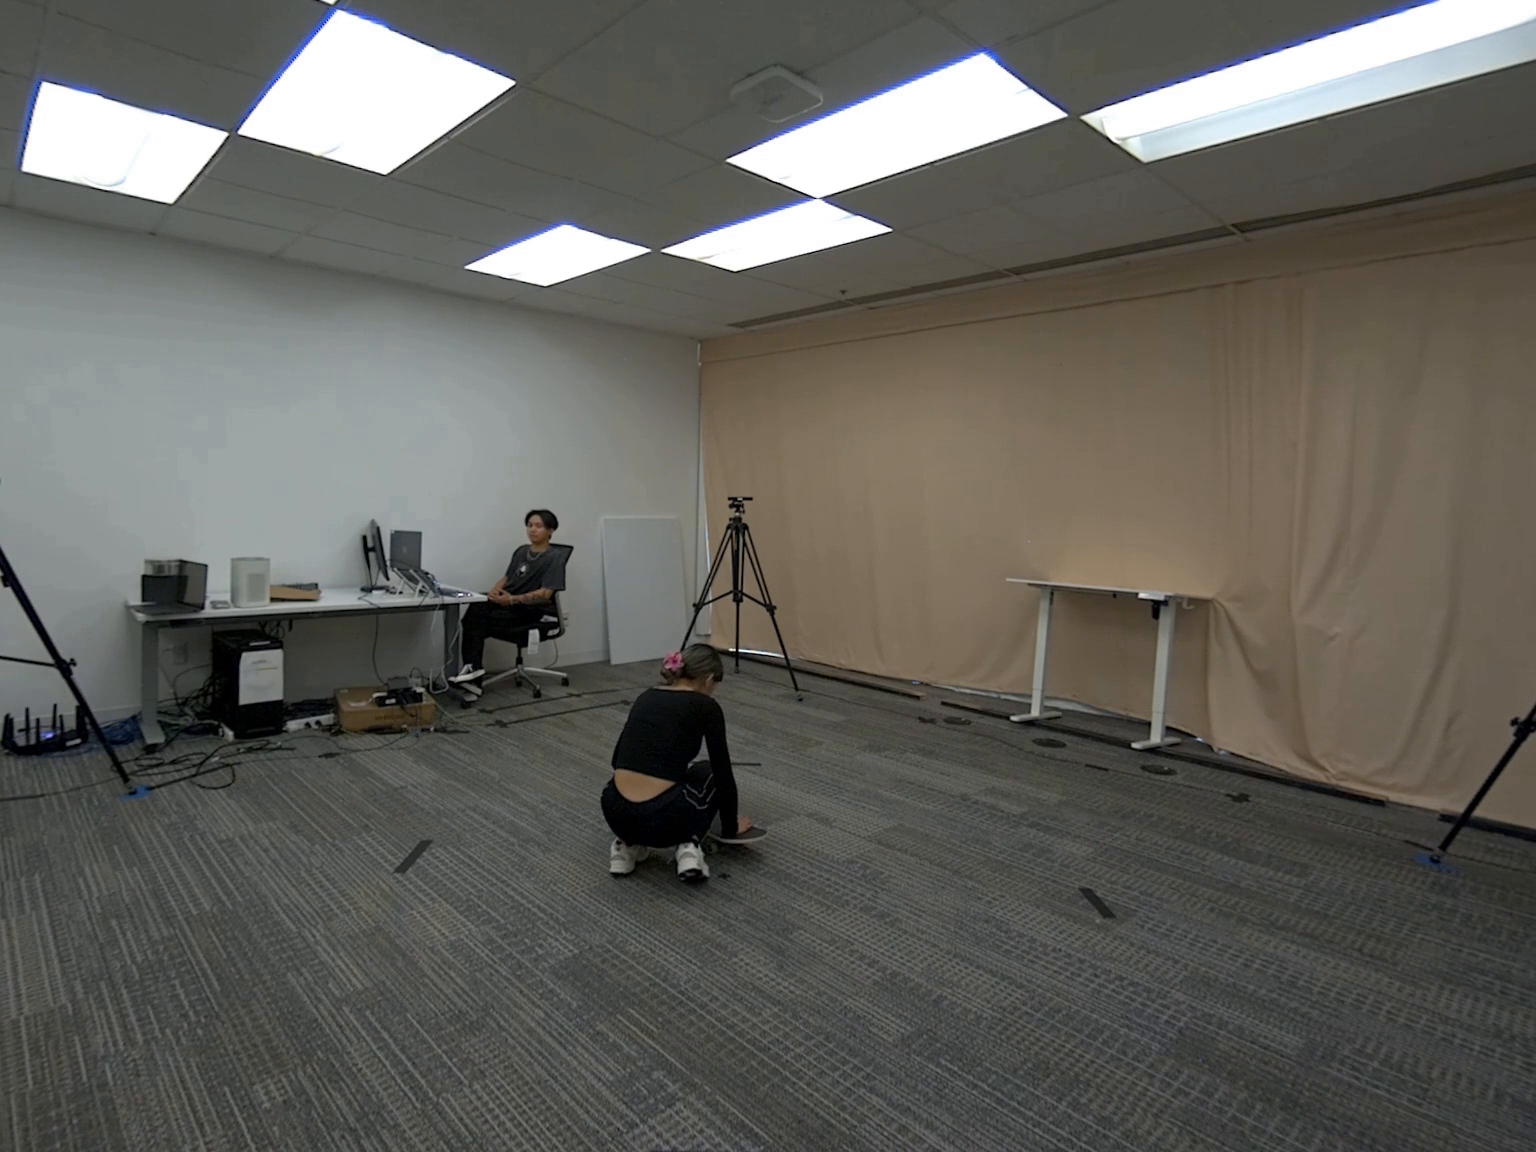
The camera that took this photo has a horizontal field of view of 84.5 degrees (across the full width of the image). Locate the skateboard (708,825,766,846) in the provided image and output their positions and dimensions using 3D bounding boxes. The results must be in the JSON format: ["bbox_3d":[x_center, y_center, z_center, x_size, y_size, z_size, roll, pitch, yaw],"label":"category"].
[{"bbox_3d":[-0.310,1.015,3.489,0.189,0.110,0.806,-2,6,-44],"label":"skateboard"}]
